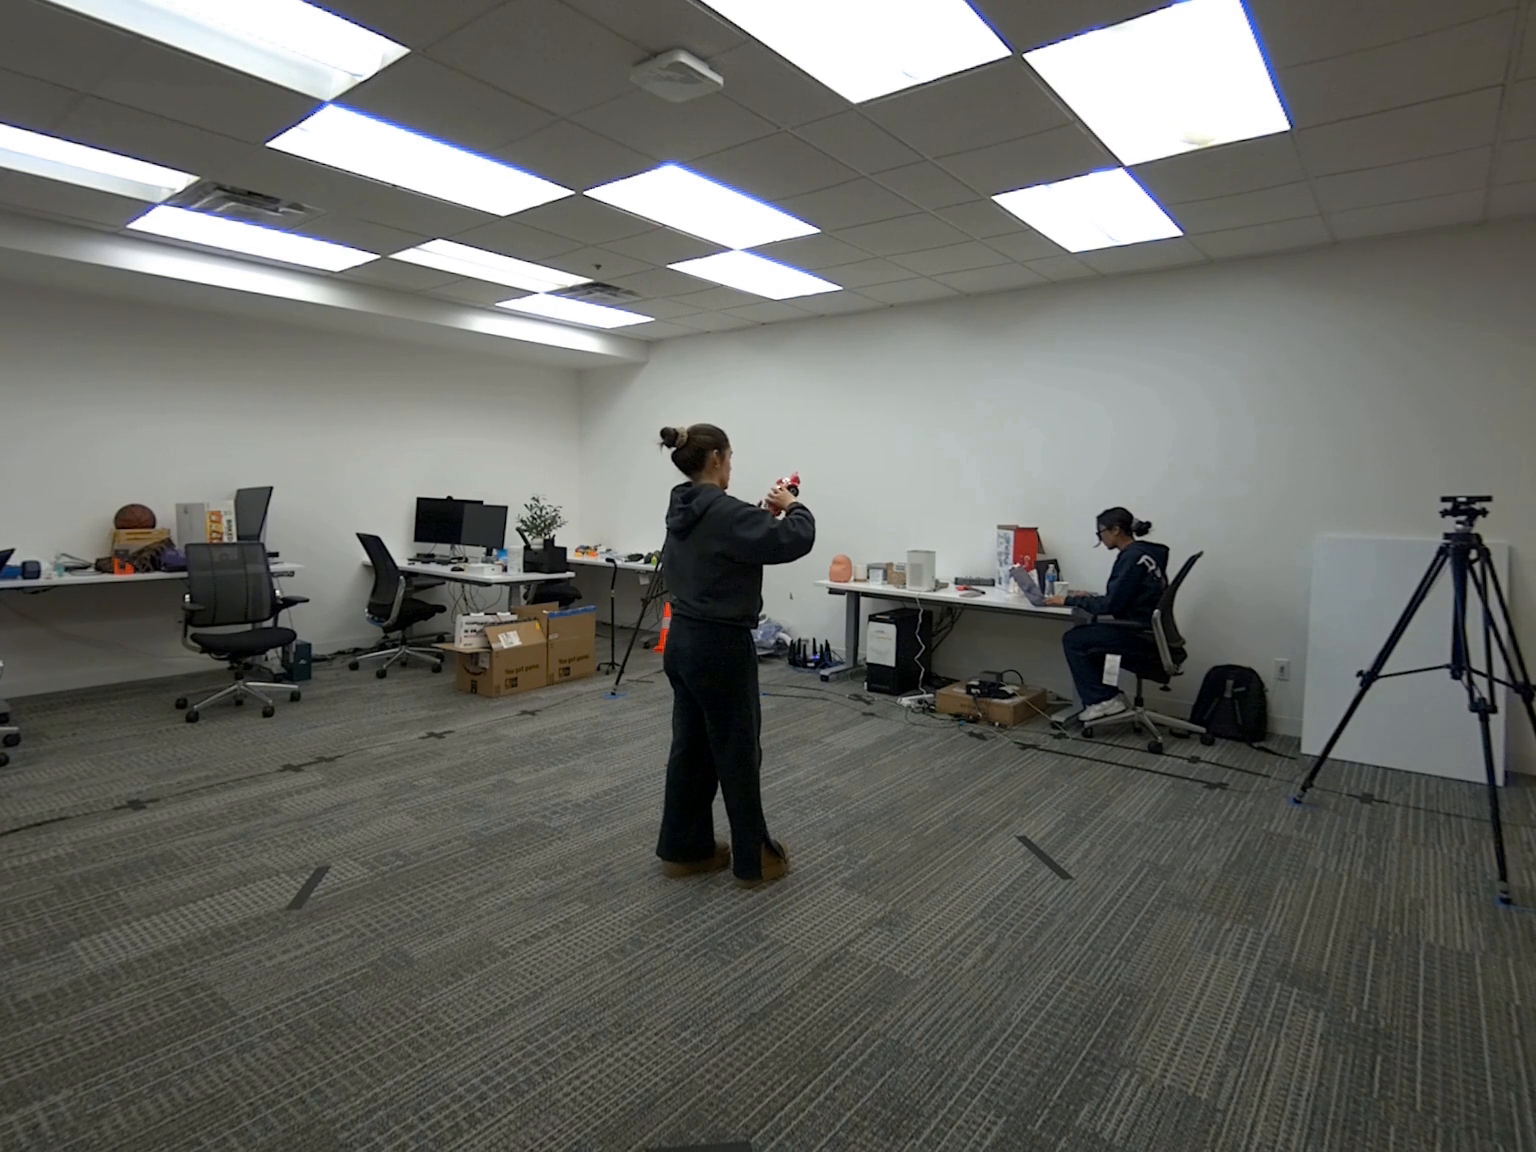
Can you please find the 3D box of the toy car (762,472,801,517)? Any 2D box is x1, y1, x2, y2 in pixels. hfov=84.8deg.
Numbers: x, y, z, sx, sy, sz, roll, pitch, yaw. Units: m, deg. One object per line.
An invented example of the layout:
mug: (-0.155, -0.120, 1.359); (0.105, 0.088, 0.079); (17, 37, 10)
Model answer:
toy car: (0.040, -0.280, 3.141); (0.082, 0.255, 0.131); (28, -5, -7)
